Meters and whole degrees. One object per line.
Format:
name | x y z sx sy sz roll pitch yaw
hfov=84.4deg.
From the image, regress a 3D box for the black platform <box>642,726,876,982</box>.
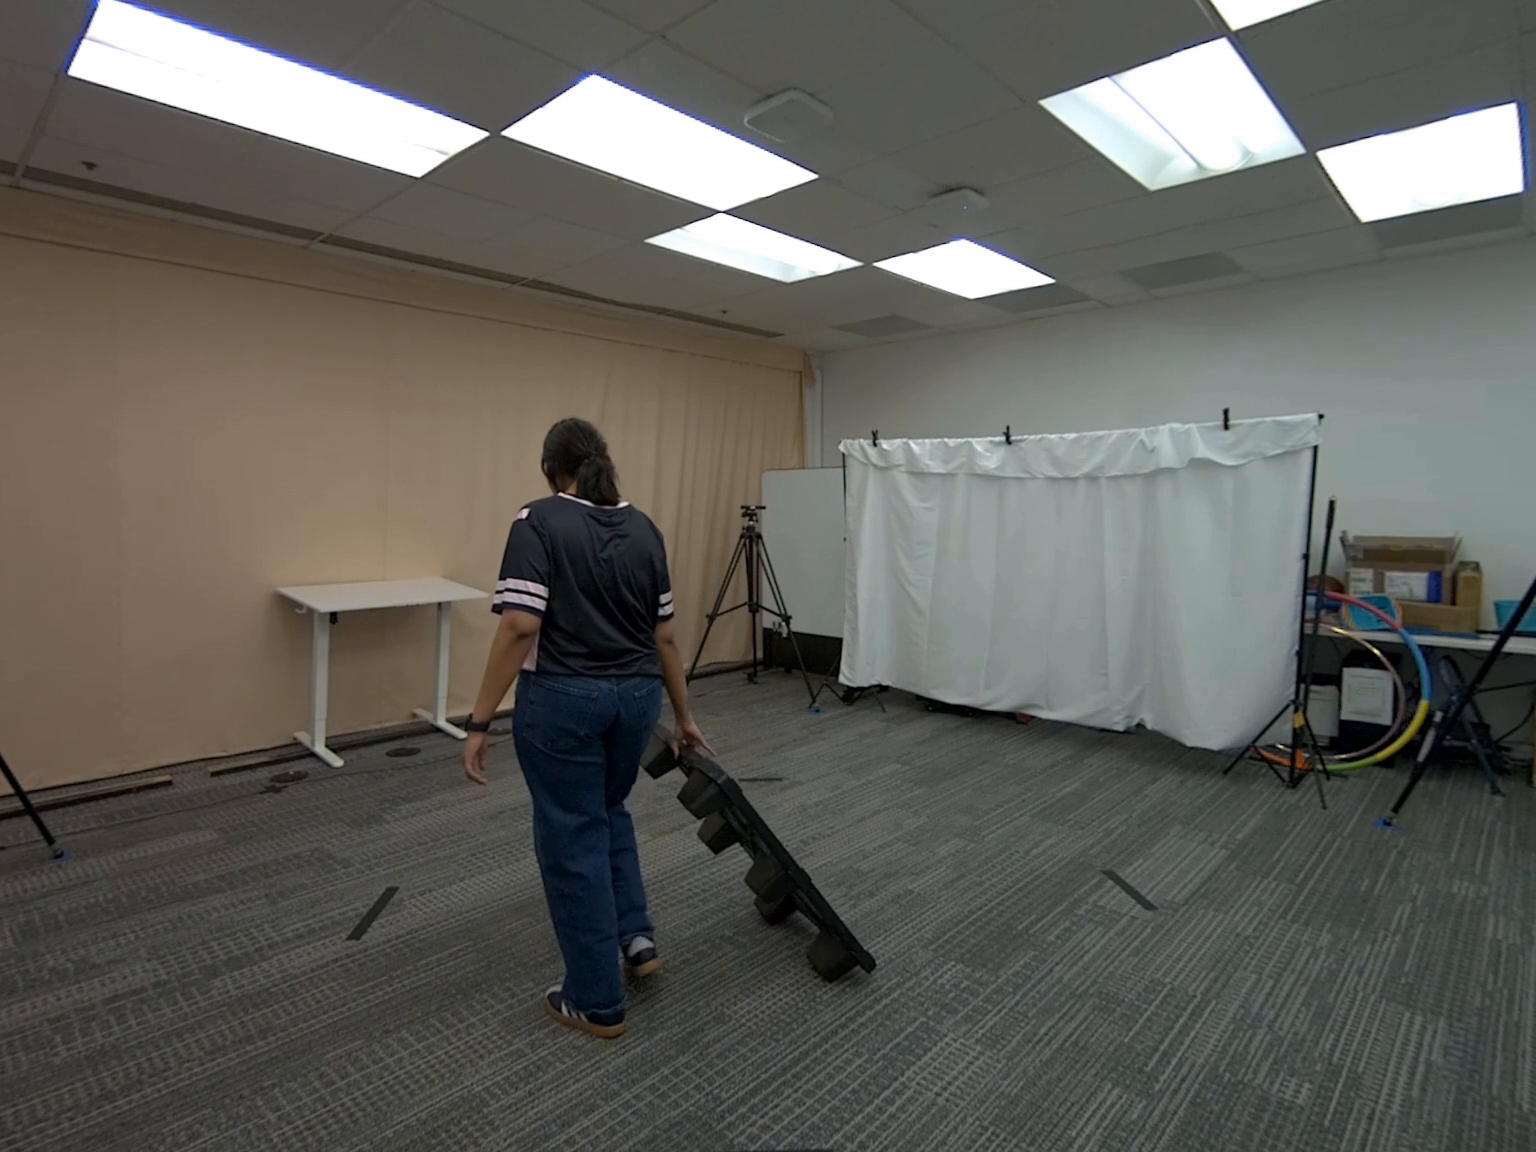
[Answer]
black platform | -0.060 0.846 2.580 0.142 0.791 0.621 -40 18 -18
